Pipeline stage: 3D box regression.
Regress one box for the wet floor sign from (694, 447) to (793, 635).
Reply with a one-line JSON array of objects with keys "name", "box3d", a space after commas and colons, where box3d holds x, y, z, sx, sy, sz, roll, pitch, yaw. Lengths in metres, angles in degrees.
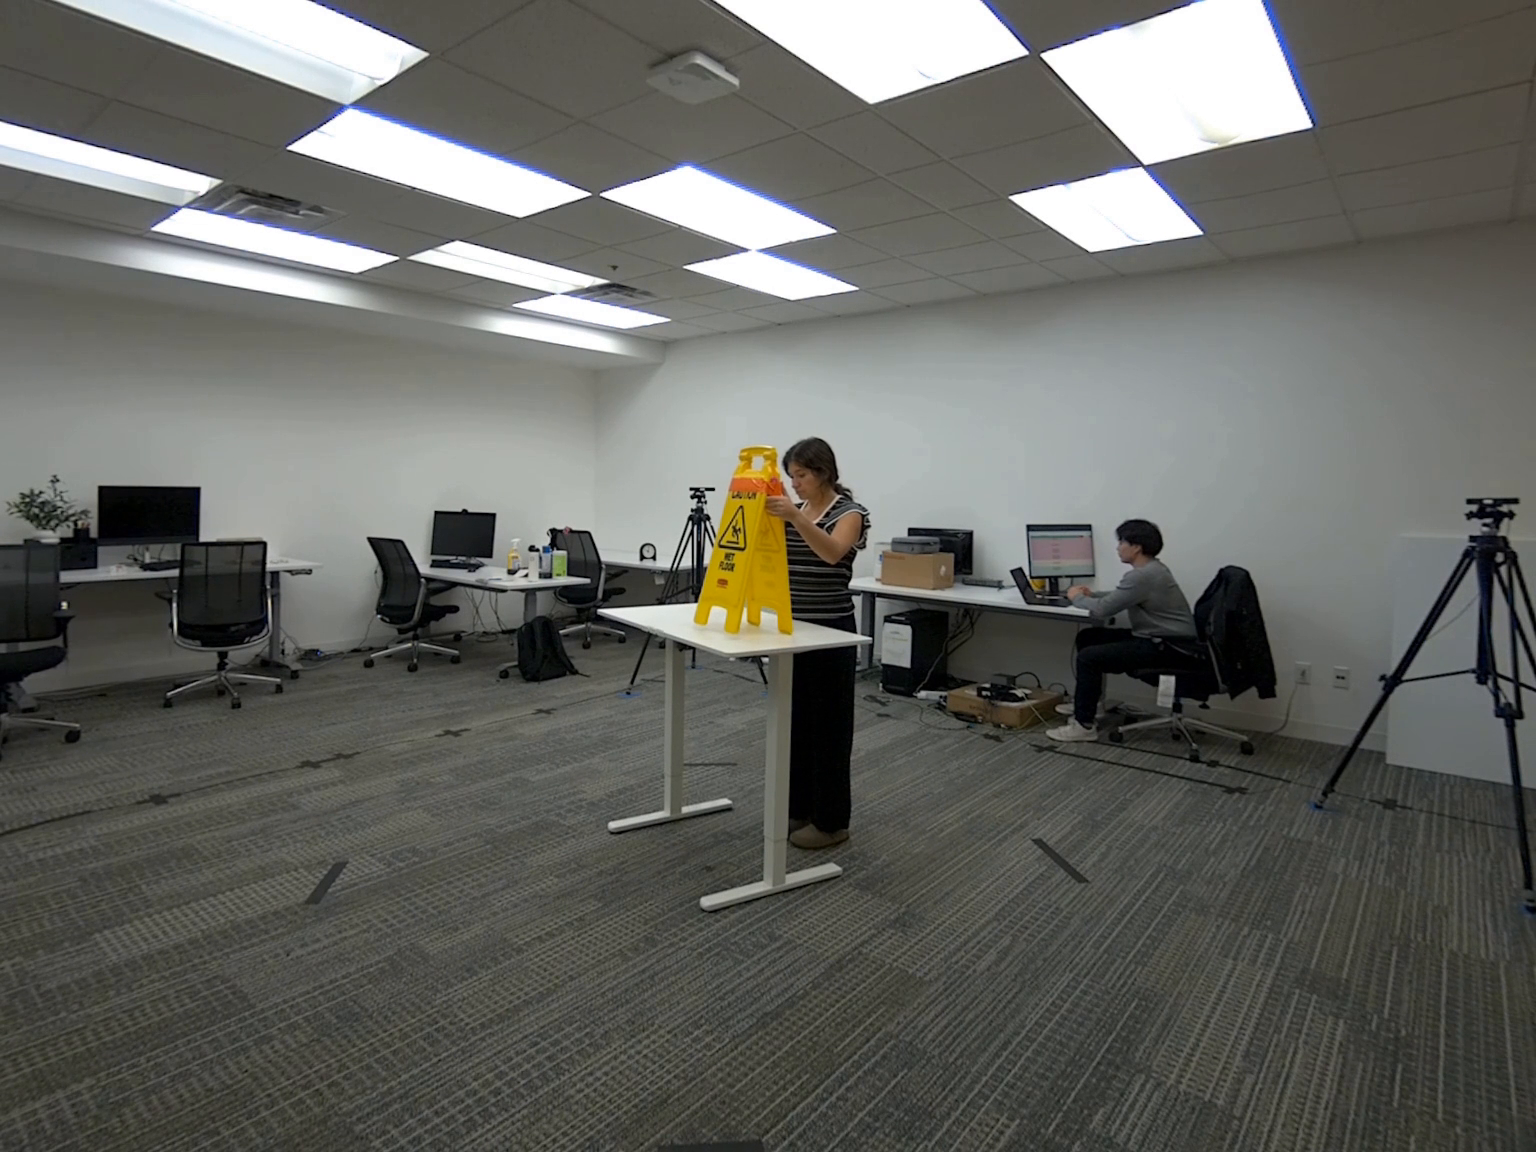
[{"name": "wet floor sign", "box3d": [-0.073, -0.137, 3.027, 0.281, 0.646, 0.291, 4, 1, -34]}]
